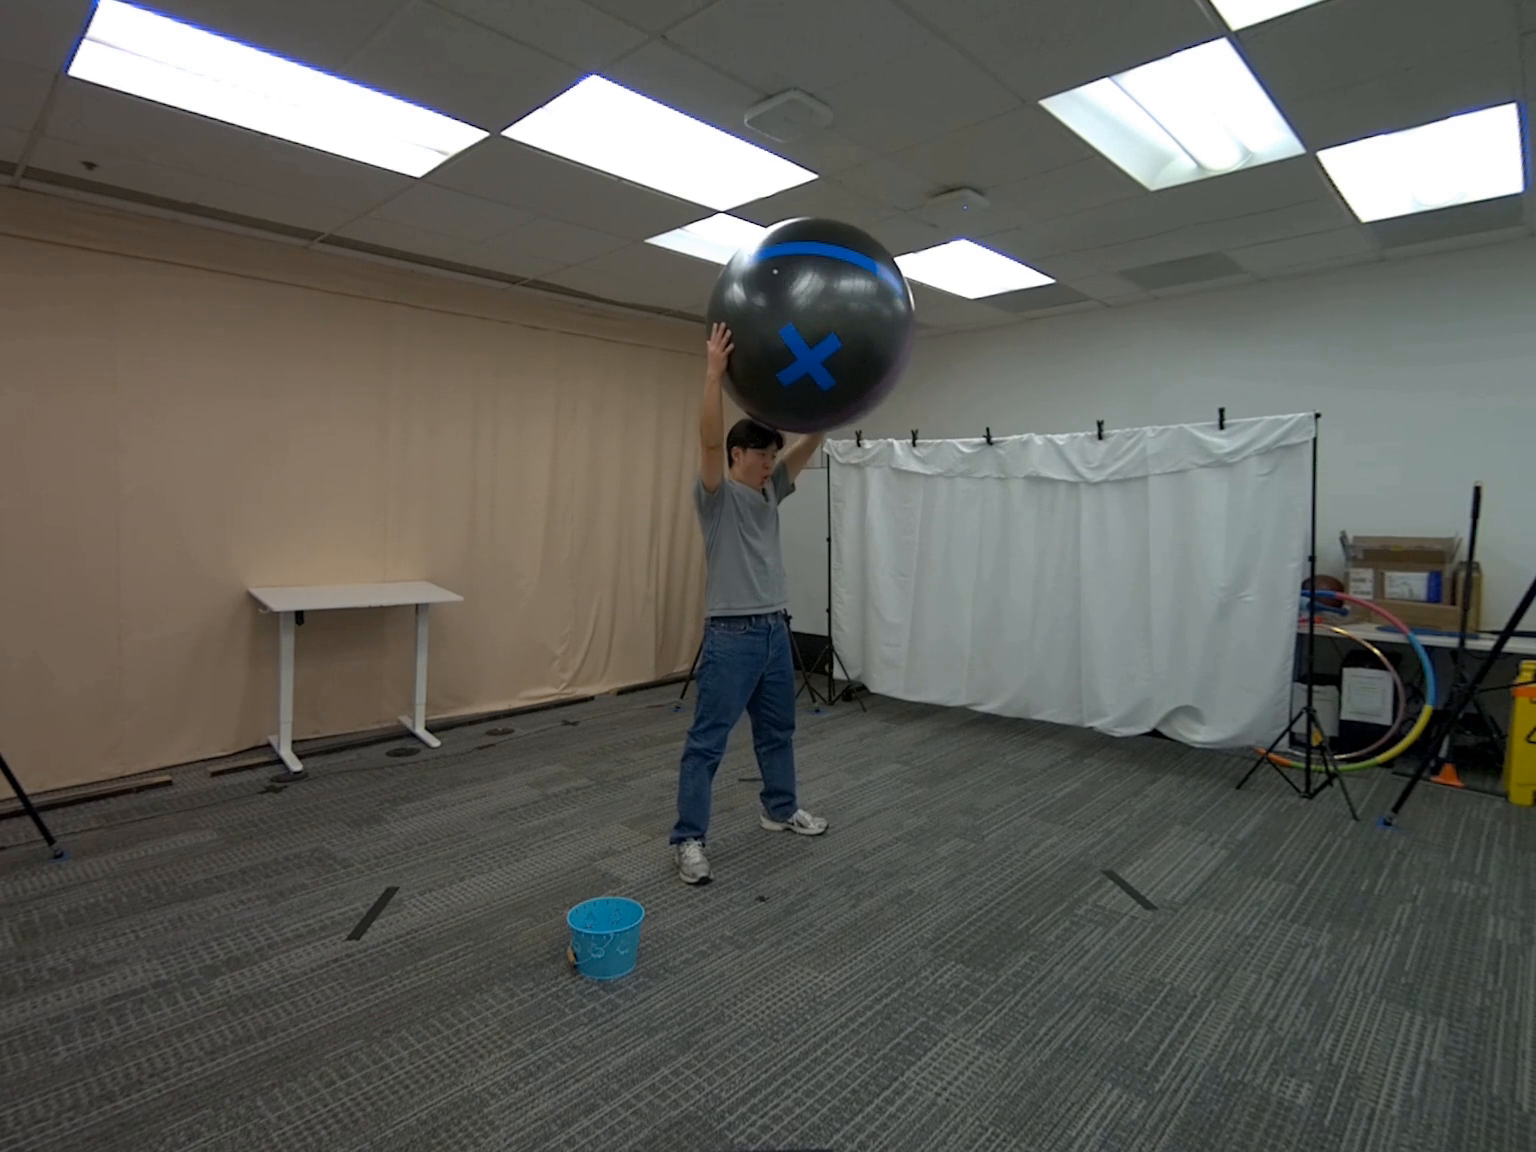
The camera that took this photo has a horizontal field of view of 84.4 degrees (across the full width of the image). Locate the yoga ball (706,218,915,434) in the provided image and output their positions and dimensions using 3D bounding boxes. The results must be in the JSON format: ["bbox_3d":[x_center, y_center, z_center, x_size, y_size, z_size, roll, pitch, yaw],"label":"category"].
[{"bbox_3d":[0.165,-0.870,3.069,0.757,0.756,0.760,0,4,-2],"label":"yoga ball"}]
